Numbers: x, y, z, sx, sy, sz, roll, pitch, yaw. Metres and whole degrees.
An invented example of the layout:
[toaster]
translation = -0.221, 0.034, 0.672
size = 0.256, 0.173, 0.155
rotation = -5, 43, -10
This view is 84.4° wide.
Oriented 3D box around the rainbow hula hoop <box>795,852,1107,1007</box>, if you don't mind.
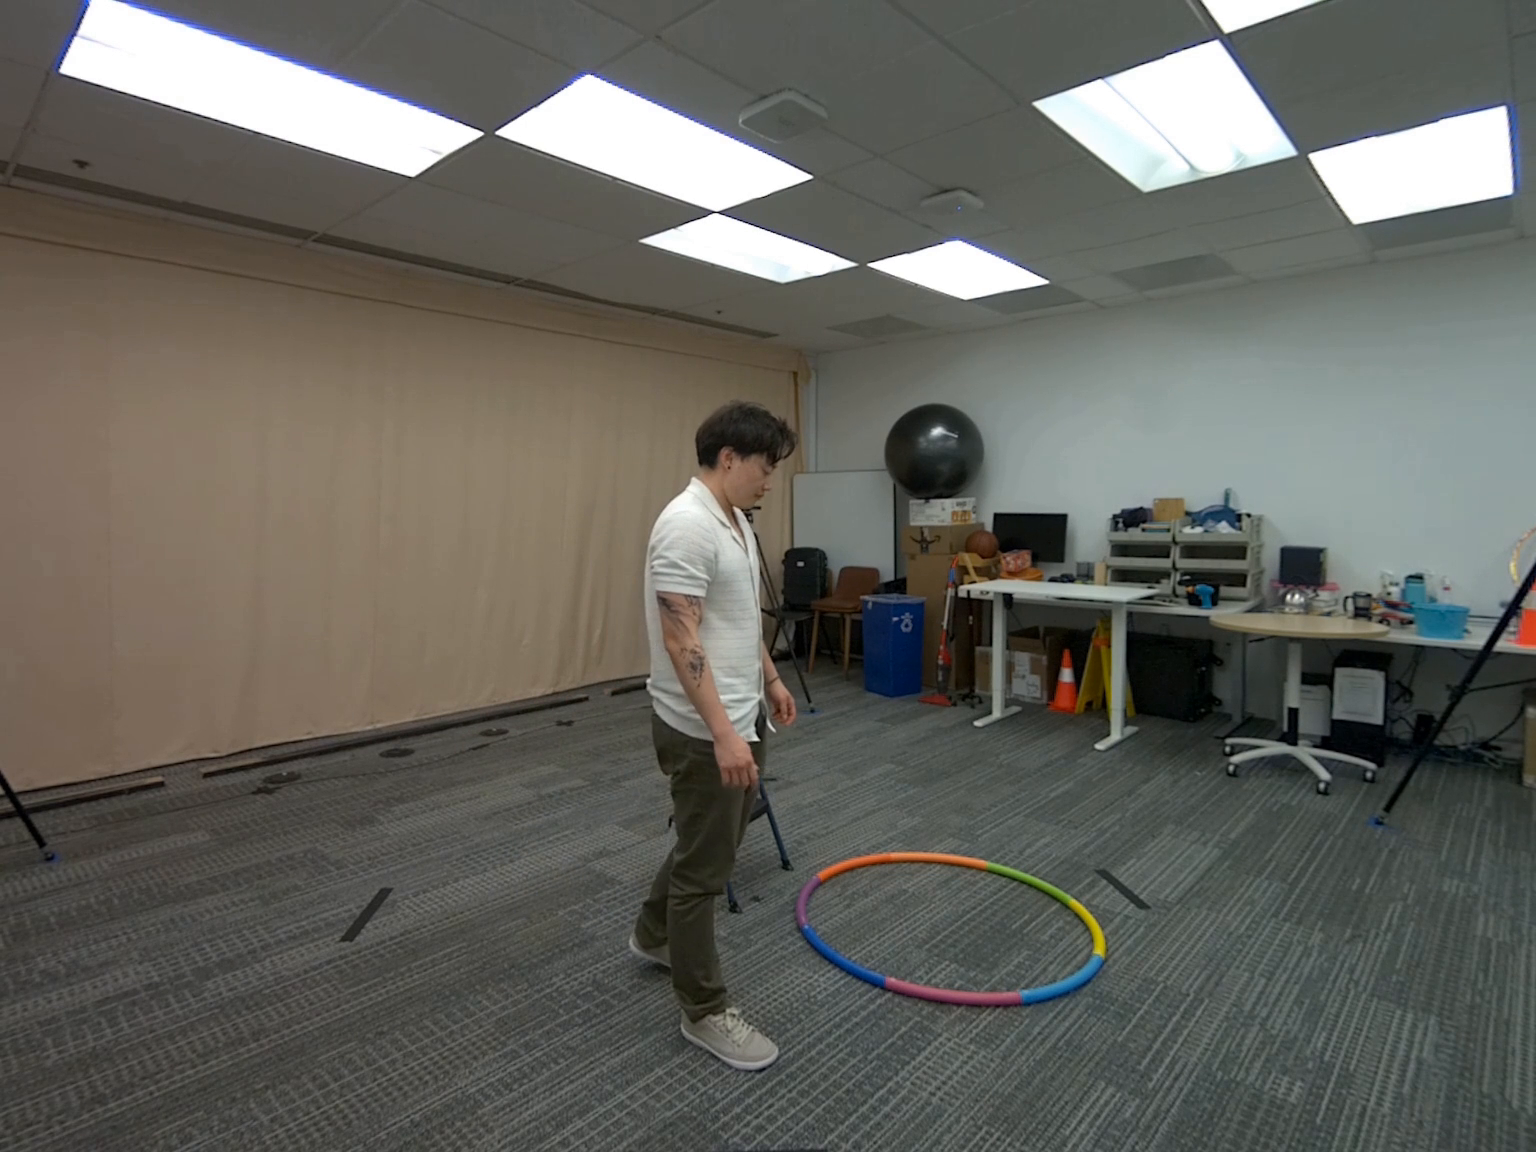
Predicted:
[rainbow hula hoop]
translation = 0.592, 1.126, 2.822
size = 0.978, 0.035, 0.982
rotation = 0, 5, -2
